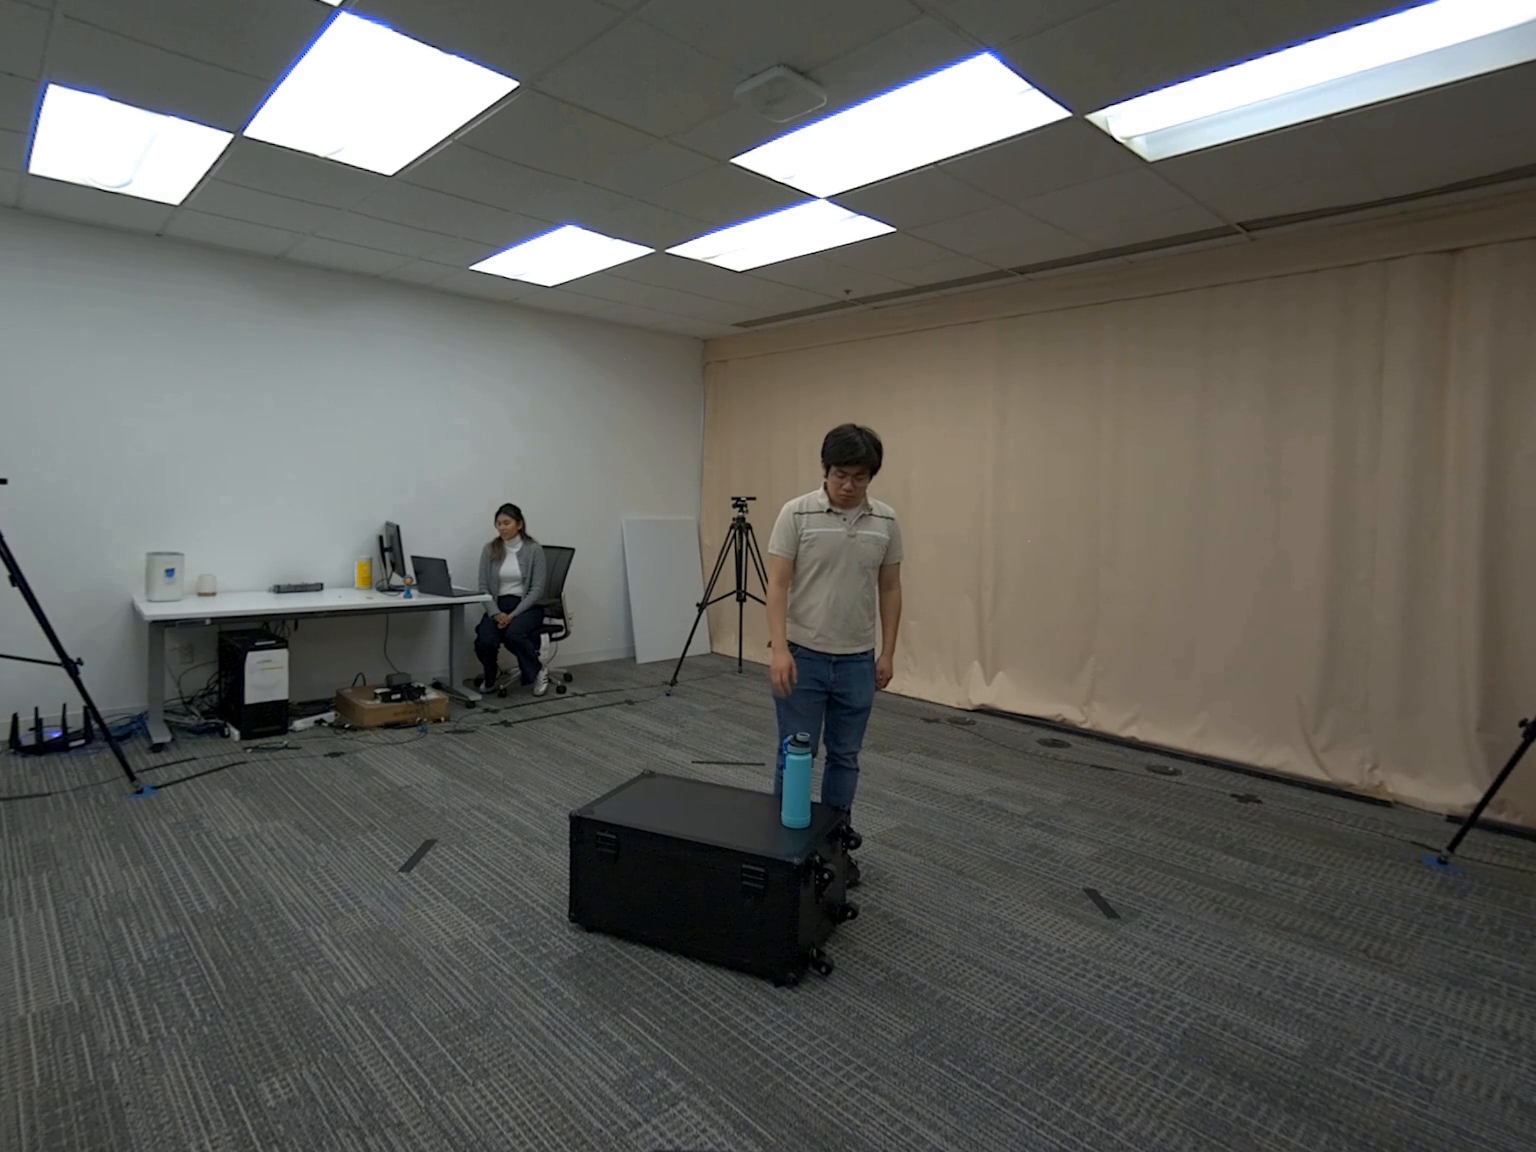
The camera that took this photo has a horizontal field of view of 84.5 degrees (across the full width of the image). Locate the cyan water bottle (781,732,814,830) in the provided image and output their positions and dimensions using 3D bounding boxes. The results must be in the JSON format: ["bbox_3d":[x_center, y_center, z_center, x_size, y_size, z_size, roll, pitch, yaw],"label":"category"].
[{"bbox_3d":[0.080,0.641,2.640,0.092,0.283,0.092,0,3,-1],"label":"cyan water bottle"}]
